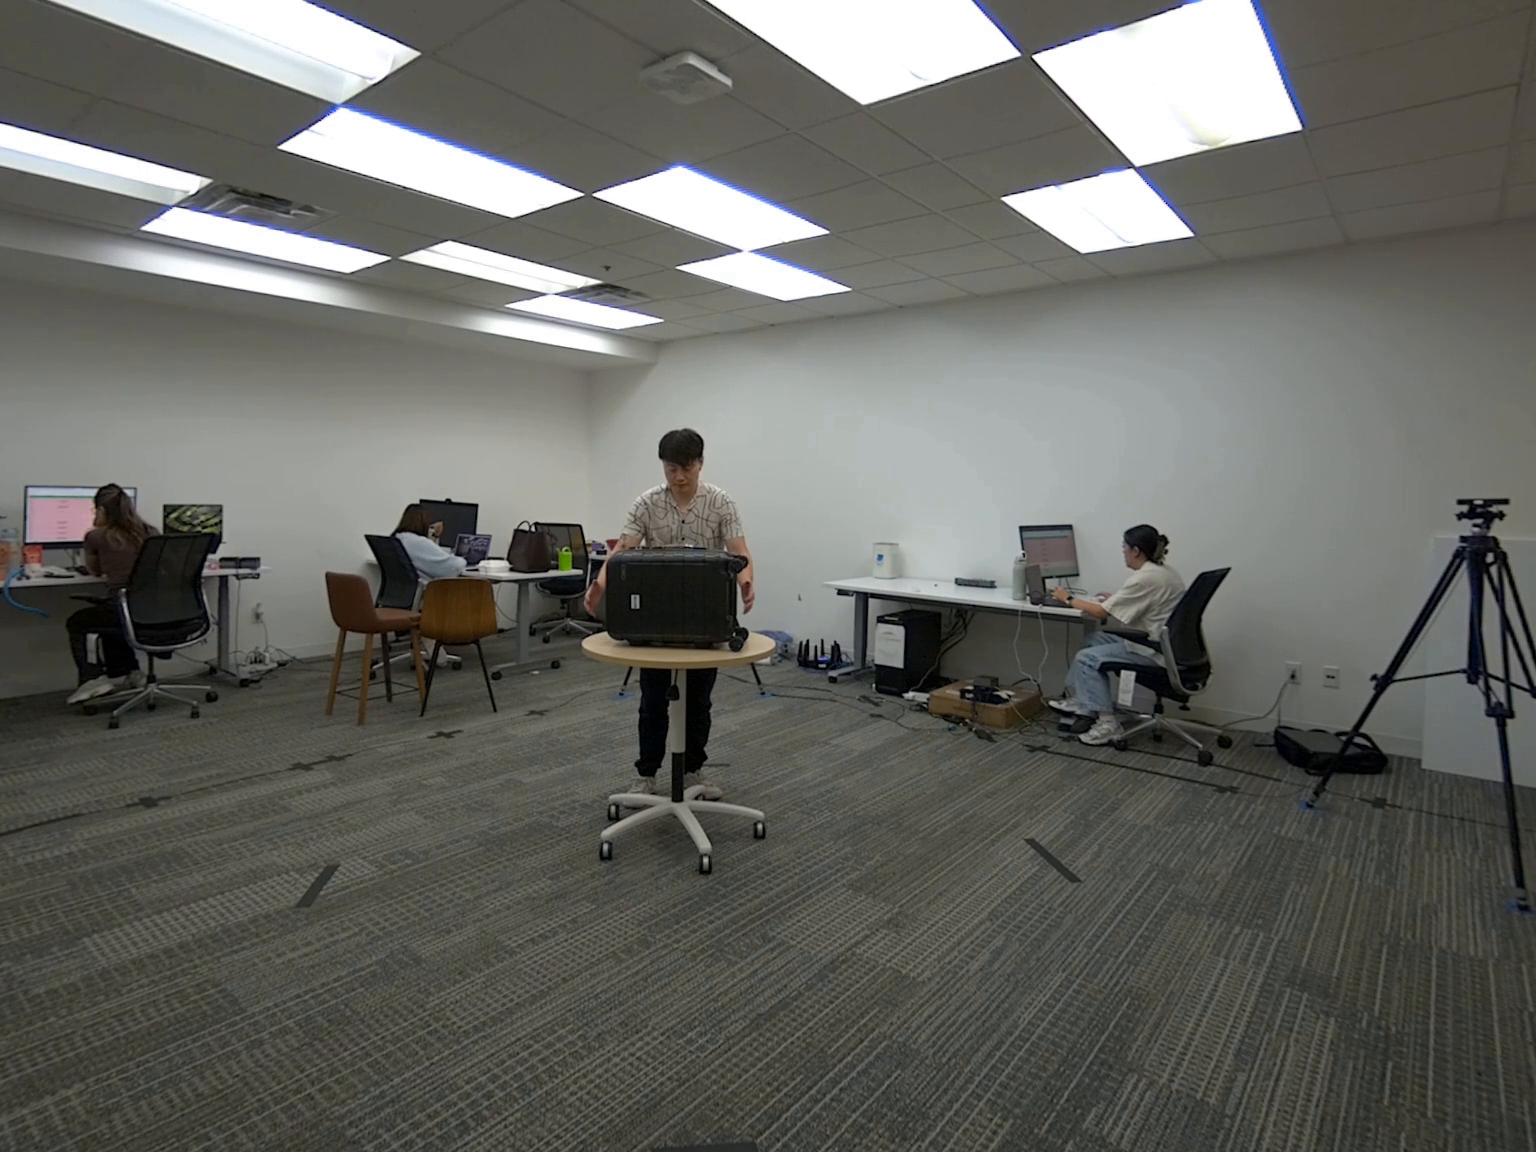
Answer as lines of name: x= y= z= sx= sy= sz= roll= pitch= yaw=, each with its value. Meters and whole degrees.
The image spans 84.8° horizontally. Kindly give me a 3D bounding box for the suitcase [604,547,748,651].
suitcase: x=-0.374 y=0.071 z=3.323 sx=0.554 sy=0.374 sz=0.247 roll=2 pitch=3 yaw=7
